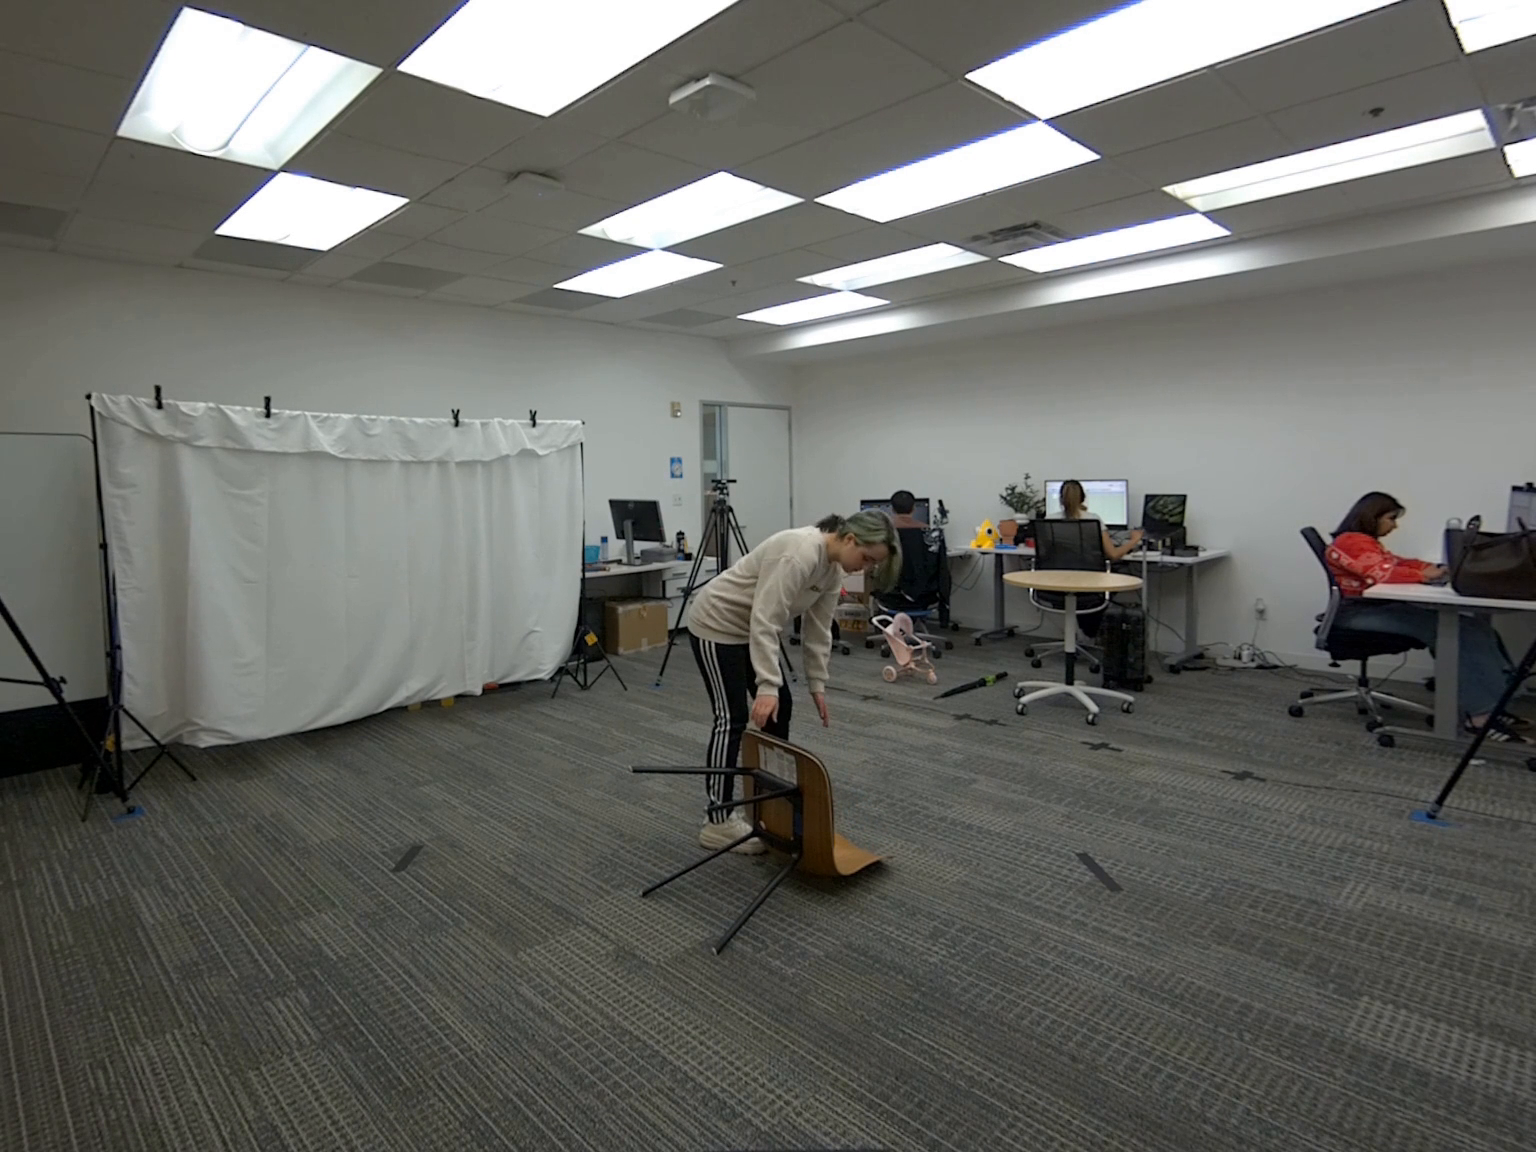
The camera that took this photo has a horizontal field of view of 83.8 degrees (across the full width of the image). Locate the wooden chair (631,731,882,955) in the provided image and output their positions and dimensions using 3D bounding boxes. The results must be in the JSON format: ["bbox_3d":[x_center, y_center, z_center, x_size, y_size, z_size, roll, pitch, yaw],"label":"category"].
[{"bbox_3d":[0.029,0.808,2.917,0.854,0.521,0.493,-4,6,-37],"label":"wooden chair"}]
